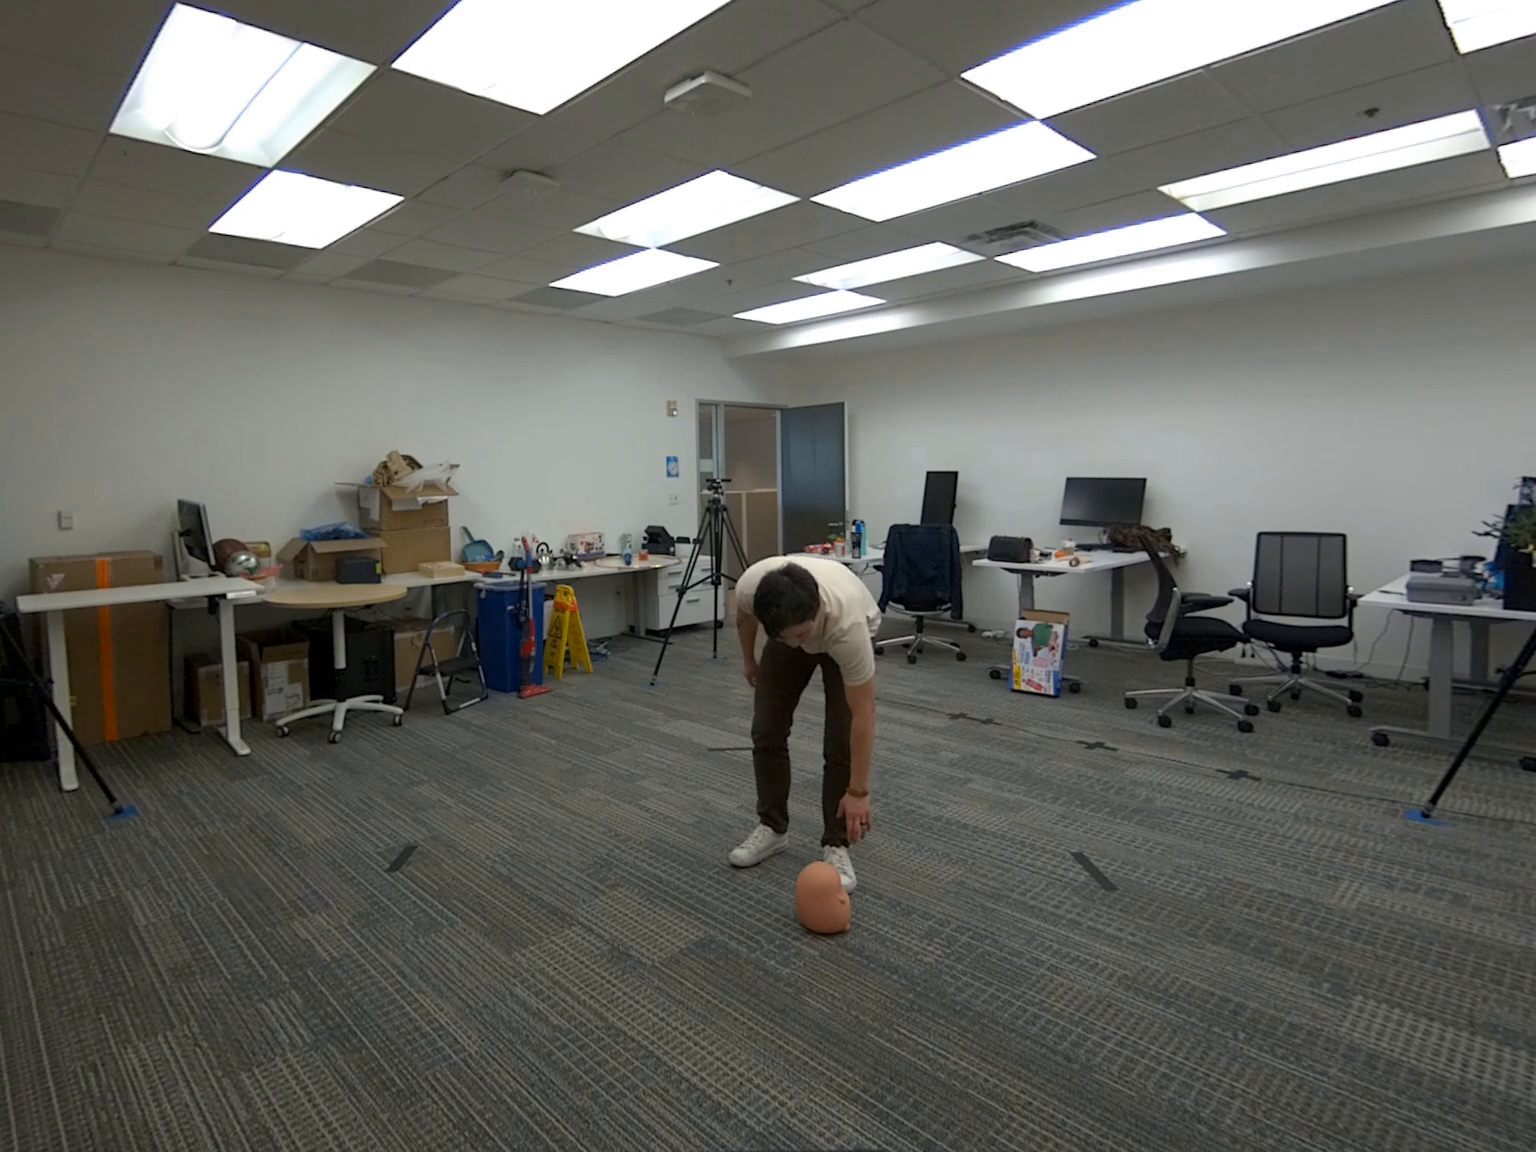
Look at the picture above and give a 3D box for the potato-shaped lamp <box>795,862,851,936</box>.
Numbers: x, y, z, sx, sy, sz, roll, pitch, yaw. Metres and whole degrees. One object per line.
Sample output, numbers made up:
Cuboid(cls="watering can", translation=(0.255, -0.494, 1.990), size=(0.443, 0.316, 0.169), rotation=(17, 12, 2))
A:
Cuboid(cls="potato-shaped lamp", translation=(0.179, 0.983, 2.663), size=(0.171, 0.198, 0.165), rotation=(-1, 3, -3))
